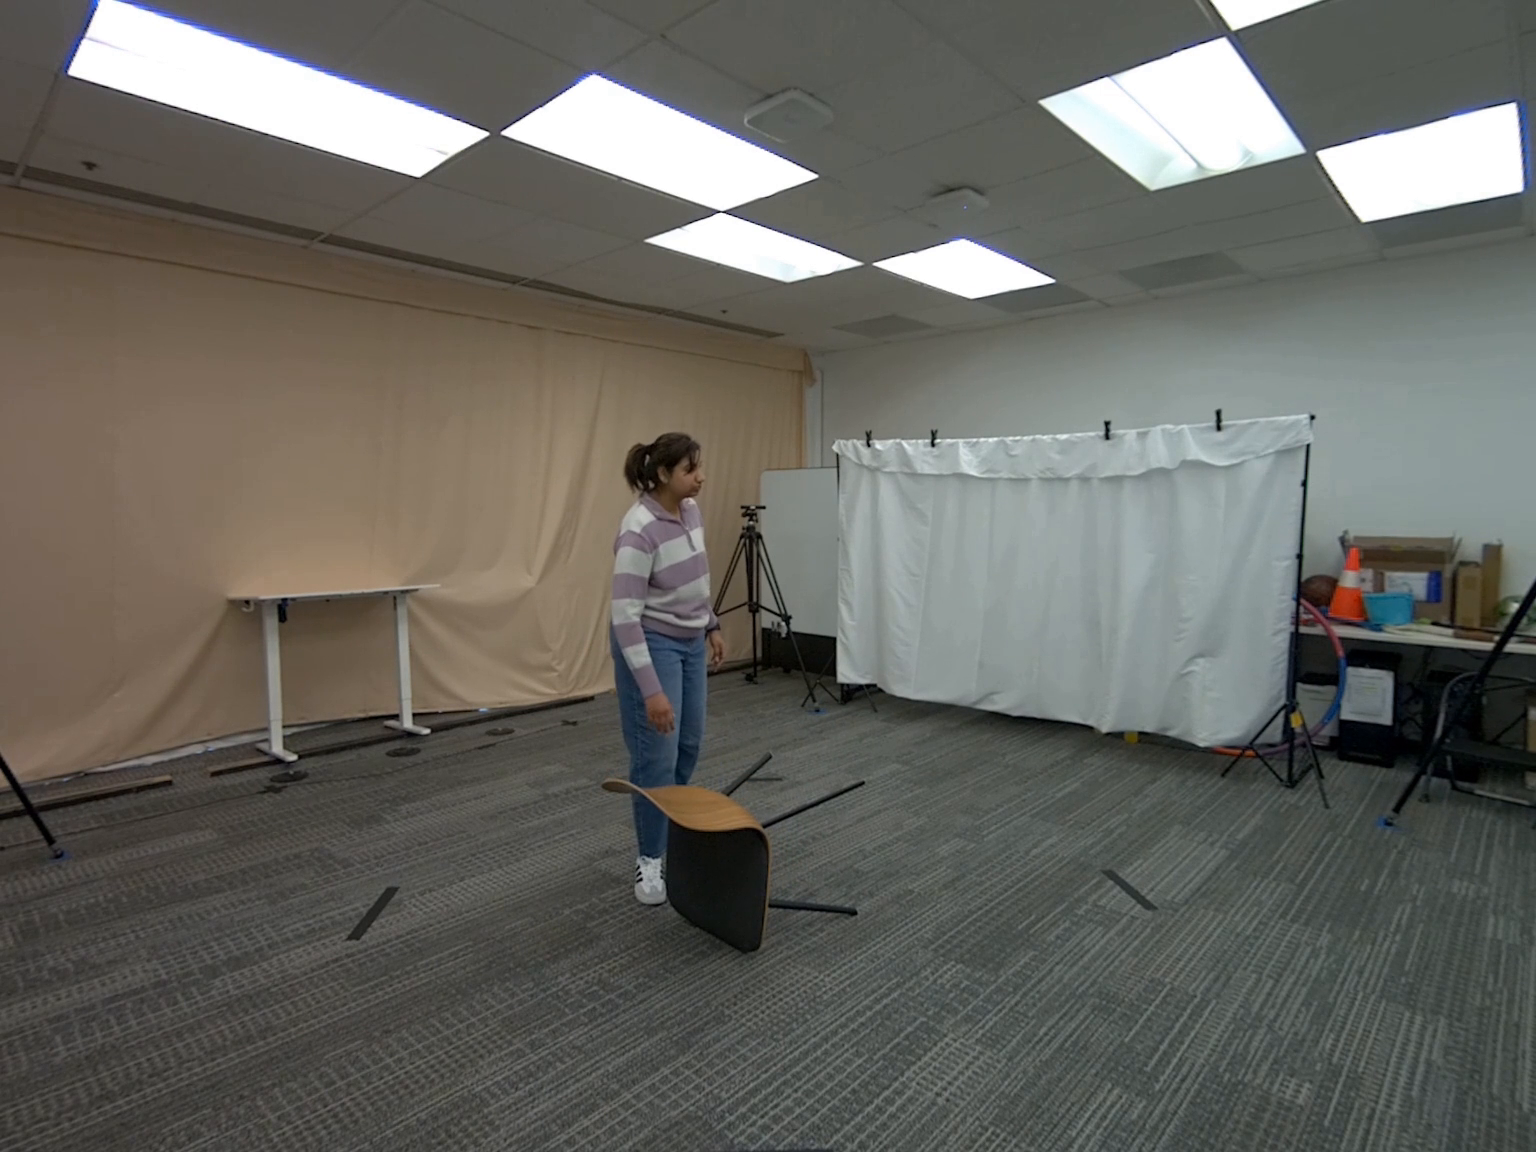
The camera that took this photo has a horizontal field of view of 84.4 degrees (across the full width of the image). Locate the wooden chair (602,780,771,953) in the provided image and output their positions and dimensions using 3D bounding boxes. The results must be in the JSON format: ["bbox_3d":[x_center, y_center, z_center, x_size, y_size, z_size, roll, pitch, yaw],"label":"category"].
[{"bbox_3d":[-0.134,0.912,2.739,0.494,0.523,0.847,5,-2,45],"label":"wooden chair"}]
